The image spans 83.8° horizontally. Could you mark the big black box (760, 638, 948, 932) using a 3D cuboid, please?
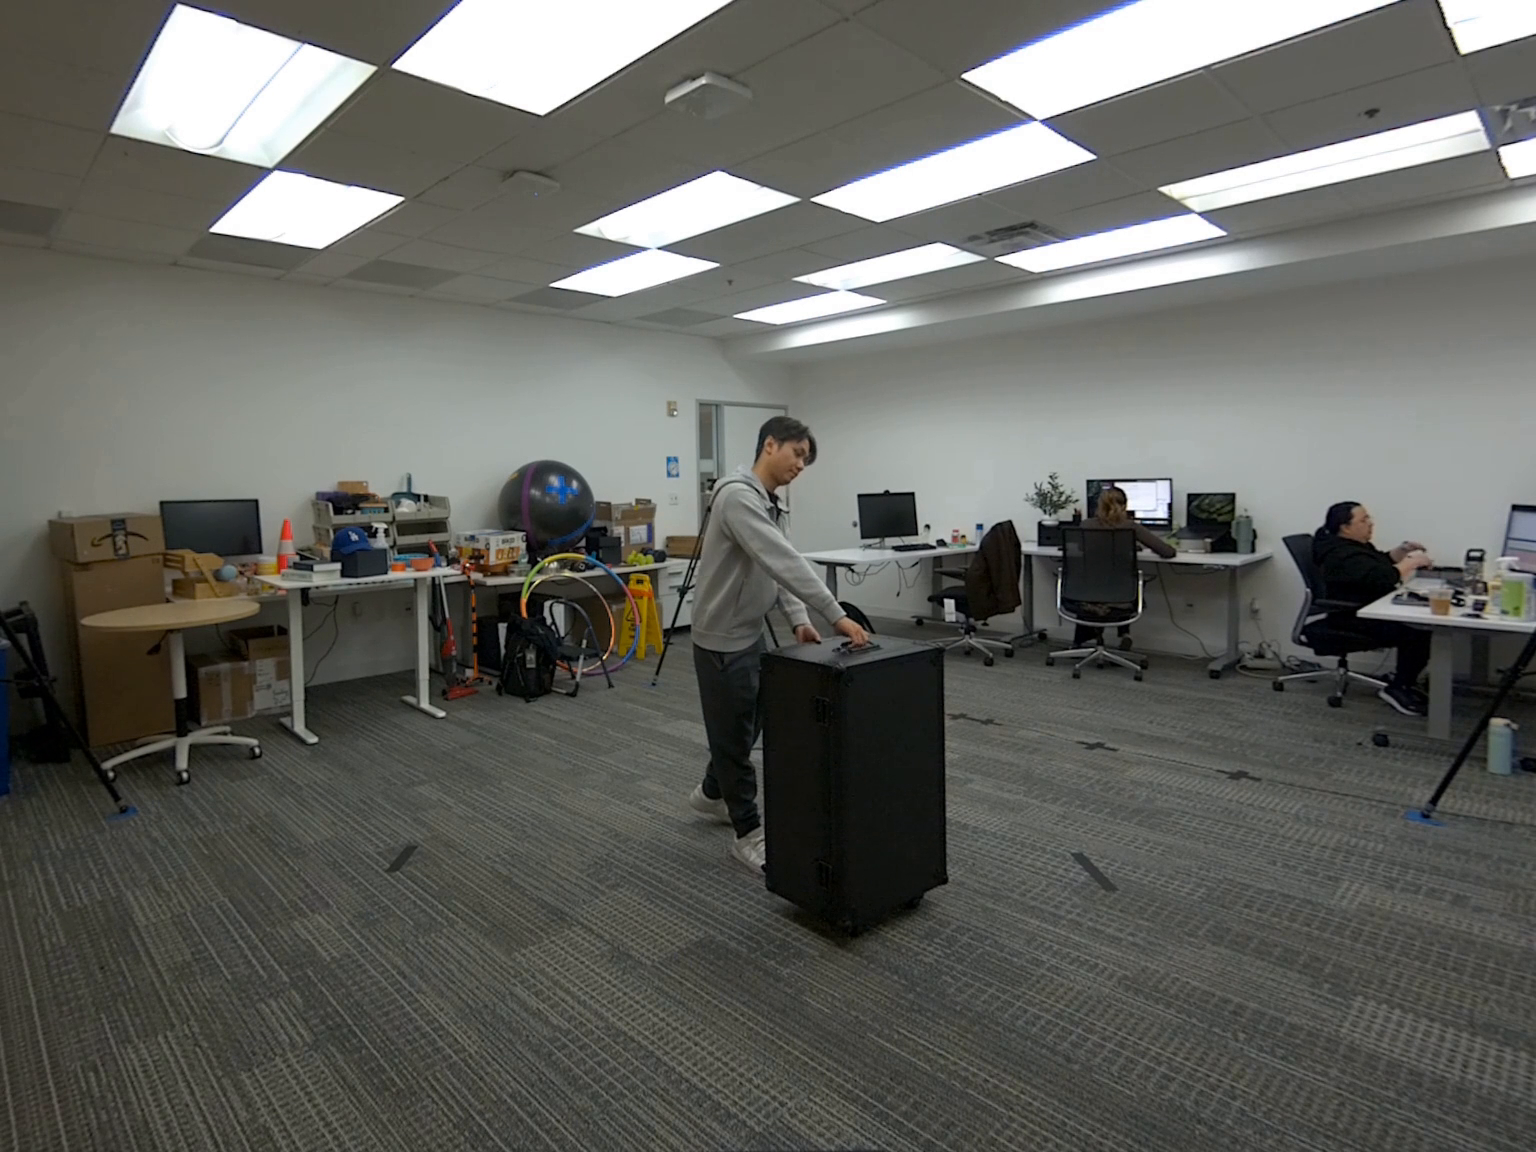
[{"bbox_3d":[0.272,0.657,2.757,0.507,0.859,0.408,-4,4,-39],"label":"big black box"}]
